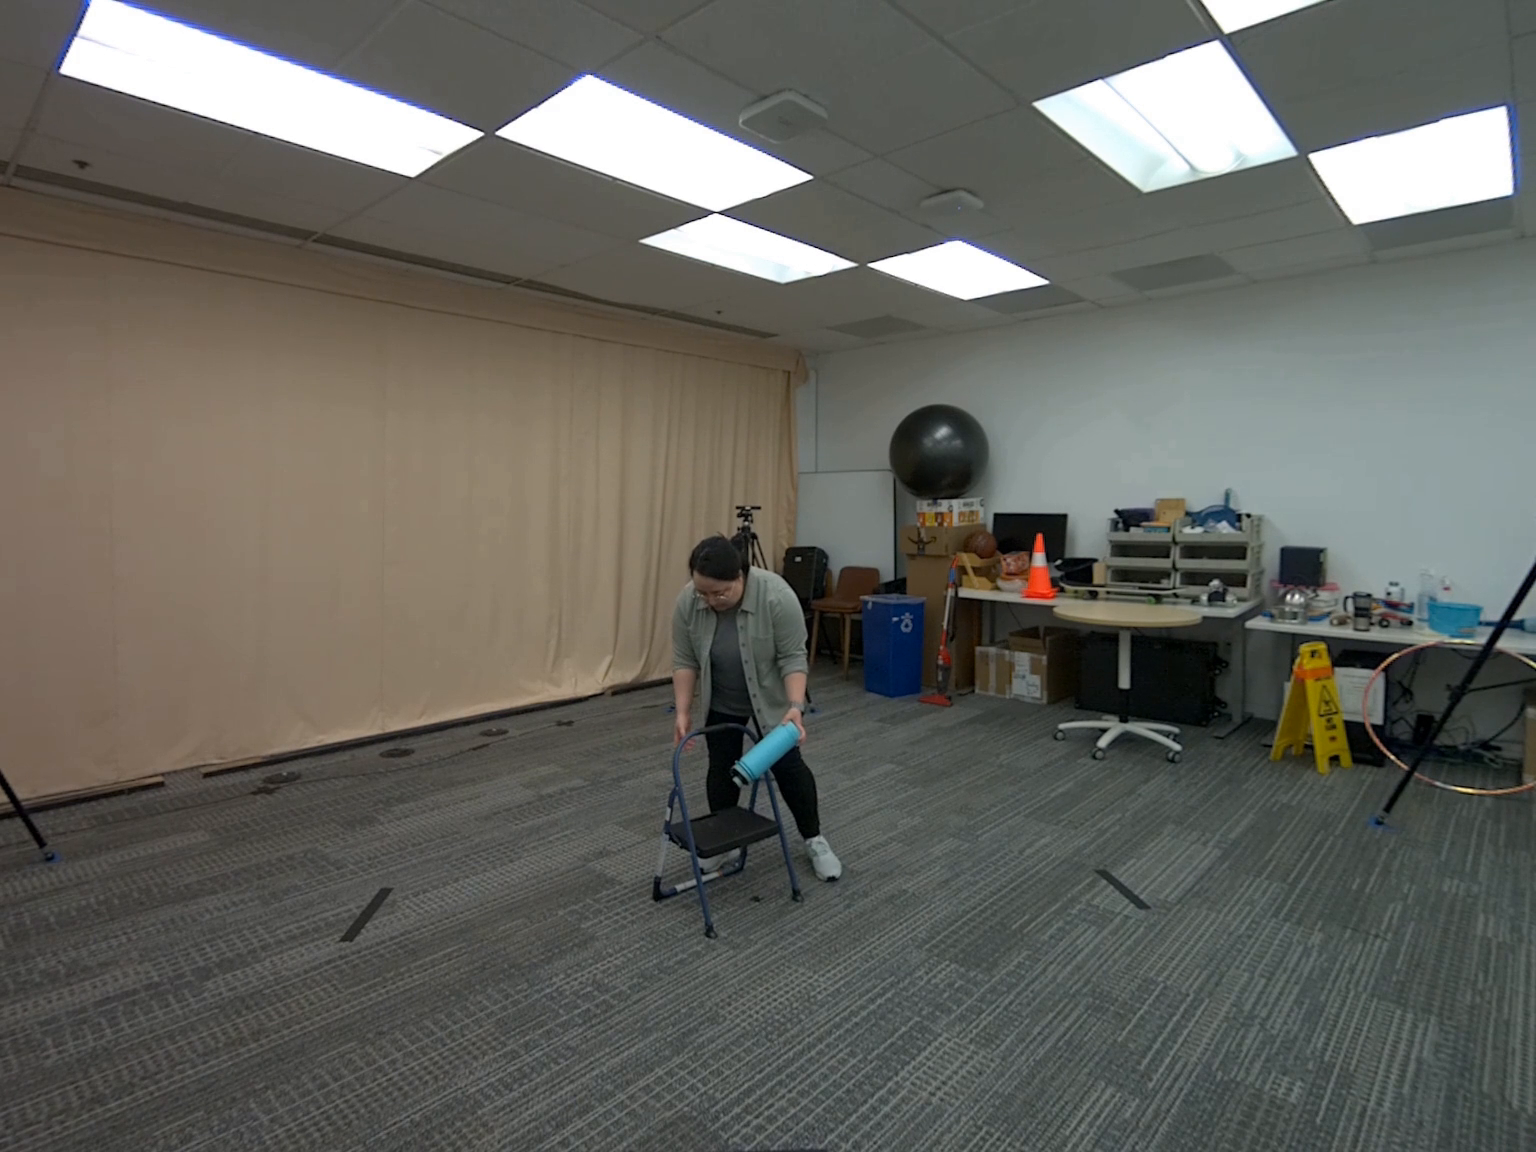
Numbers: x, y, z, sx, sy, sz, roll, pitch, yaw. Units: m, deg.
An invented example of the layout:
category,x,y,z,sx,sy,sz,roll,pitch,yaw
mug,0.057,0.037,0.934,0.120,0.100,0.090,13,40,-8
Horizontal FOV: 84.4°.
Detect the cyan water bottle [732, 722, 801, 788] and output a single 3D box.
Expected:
category,x,y,z,sx,sy,sz,roll,pitch,yaw
cyan water bottle,-0.021,0.627,2.932,0.281,0.091,0.094,-39,16,-15
